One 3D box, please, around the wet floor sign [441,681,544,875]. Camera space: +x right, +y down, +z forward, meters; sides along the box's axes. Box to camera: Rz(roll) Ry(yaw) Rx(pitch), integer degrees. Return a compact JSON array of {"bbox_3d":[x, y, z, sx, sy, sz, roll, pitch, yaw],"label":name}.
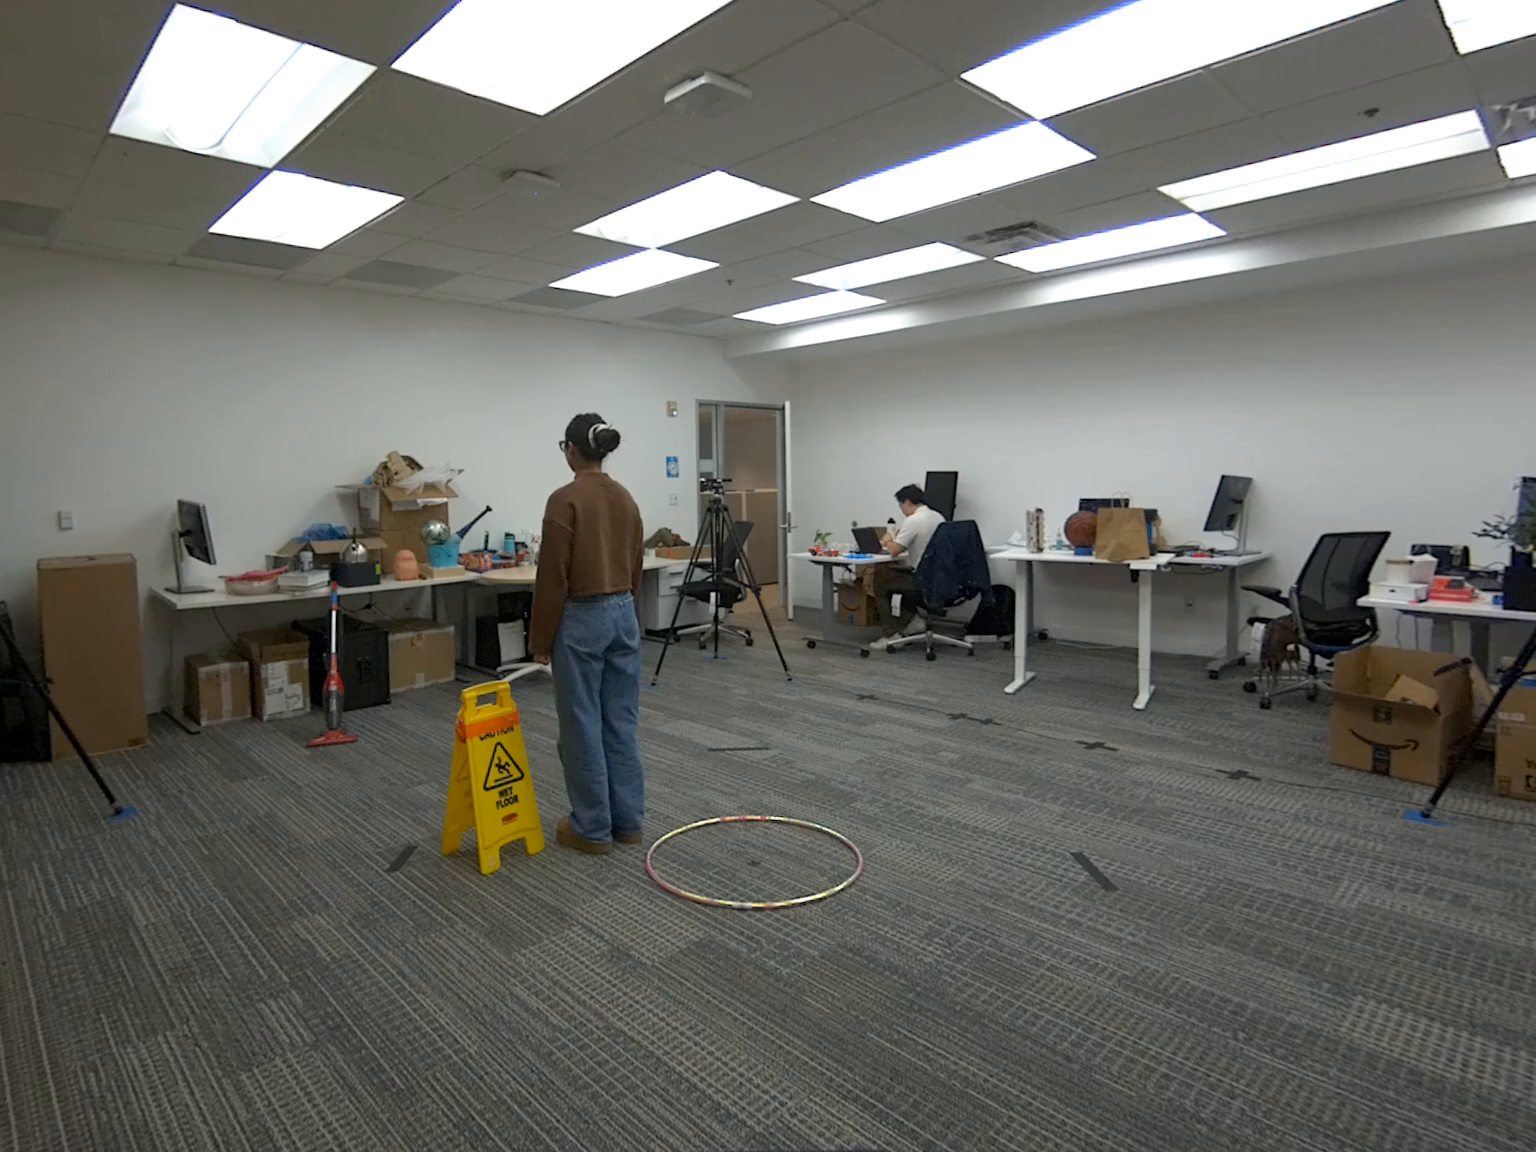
[{"bbox_3d":[-1.055,0.729,3.225,0.298,0.644,0.275,2,5,38],"label":"wet floor sign"}]
